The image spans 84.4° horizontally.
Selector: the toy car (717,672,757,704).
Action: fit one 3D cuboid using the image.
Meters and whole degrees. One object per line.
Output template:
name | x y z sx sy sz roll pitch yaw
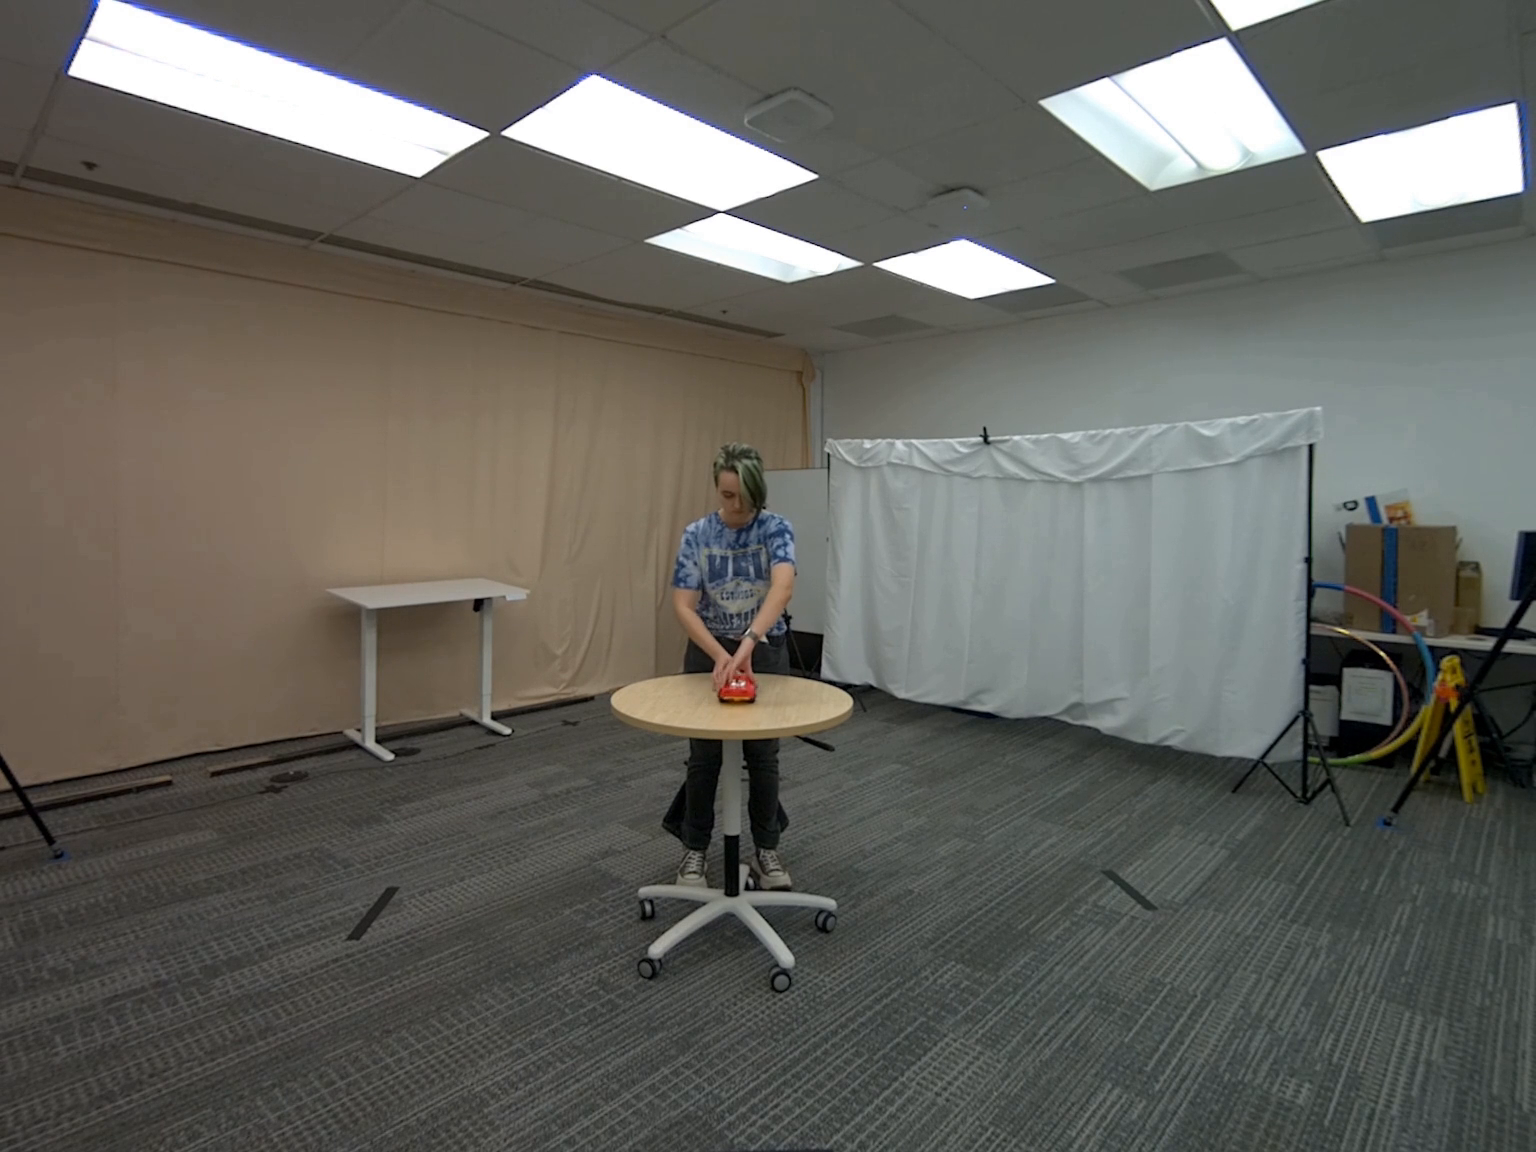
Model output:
toy car | -0.098 0.356 2.664 0.131 0.083 0.252 0 -7 2
